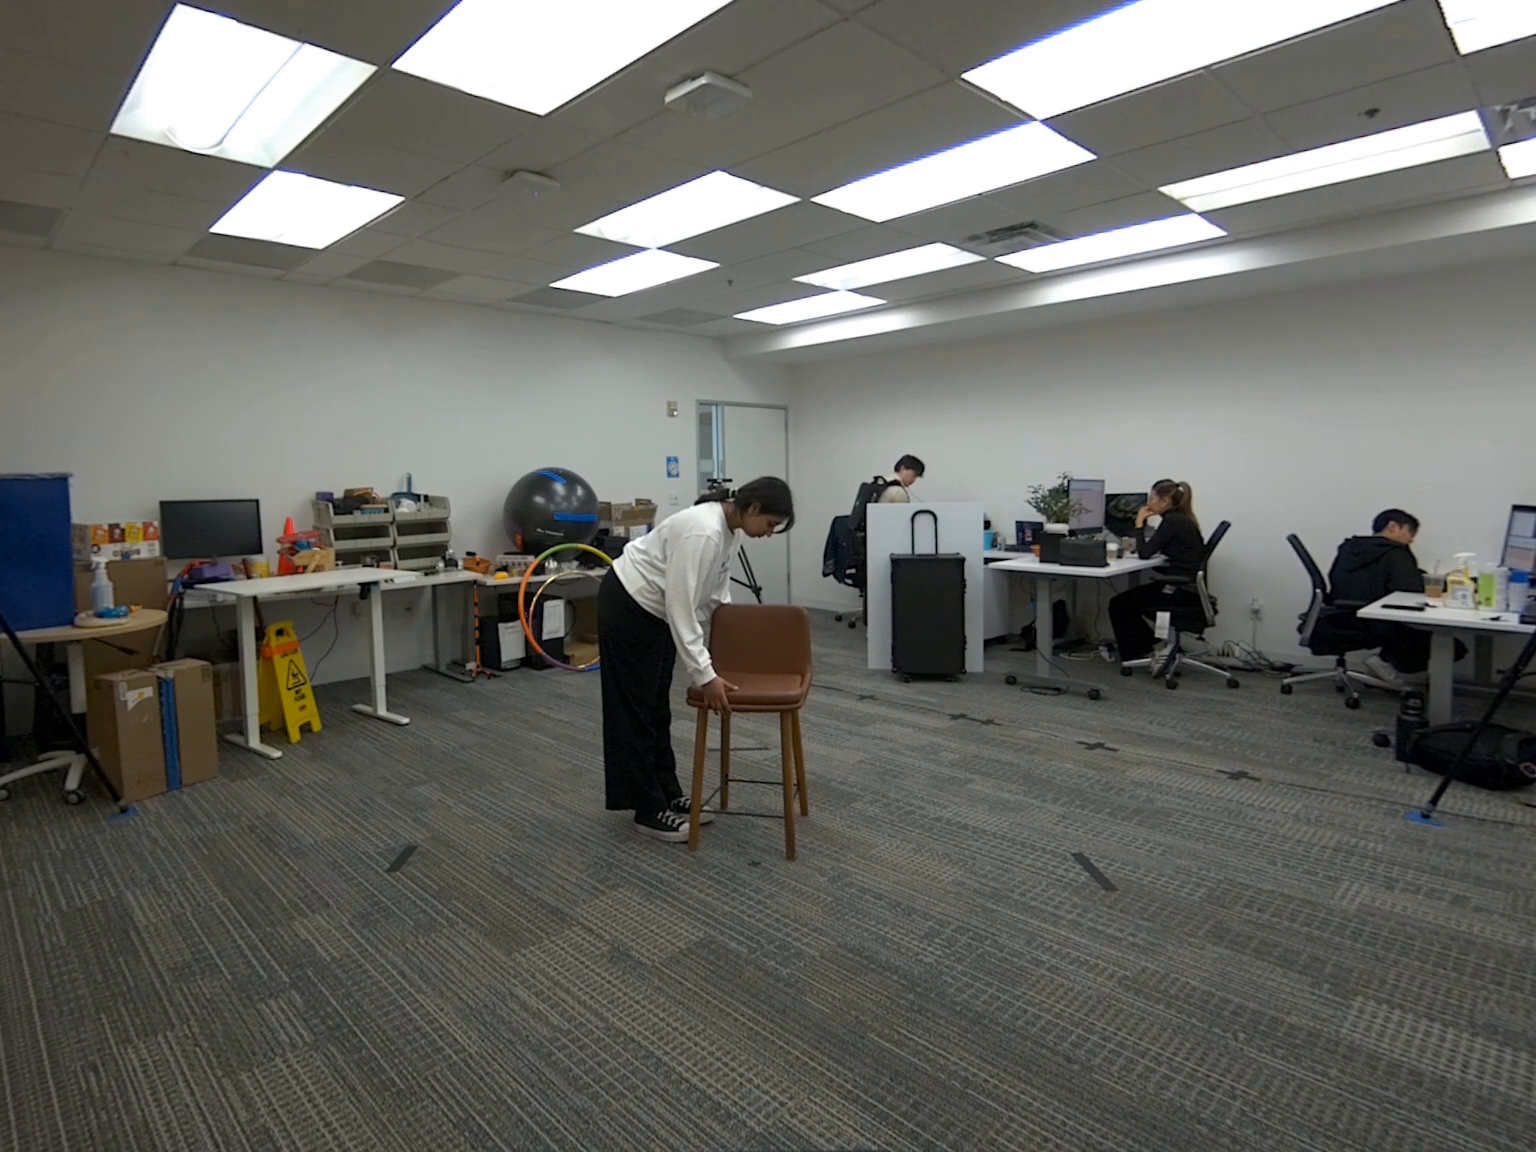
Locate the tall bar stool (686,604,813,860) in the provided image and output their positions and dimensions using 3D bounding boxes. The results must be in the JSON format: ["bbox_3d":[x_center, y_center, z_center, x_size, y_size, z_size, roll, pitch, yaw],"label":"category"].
[{"bbox_3d":[-0.064,0.579,3.364,0.463,0.888,0.462,0,2,15],"label":"tall bar stool"}]
